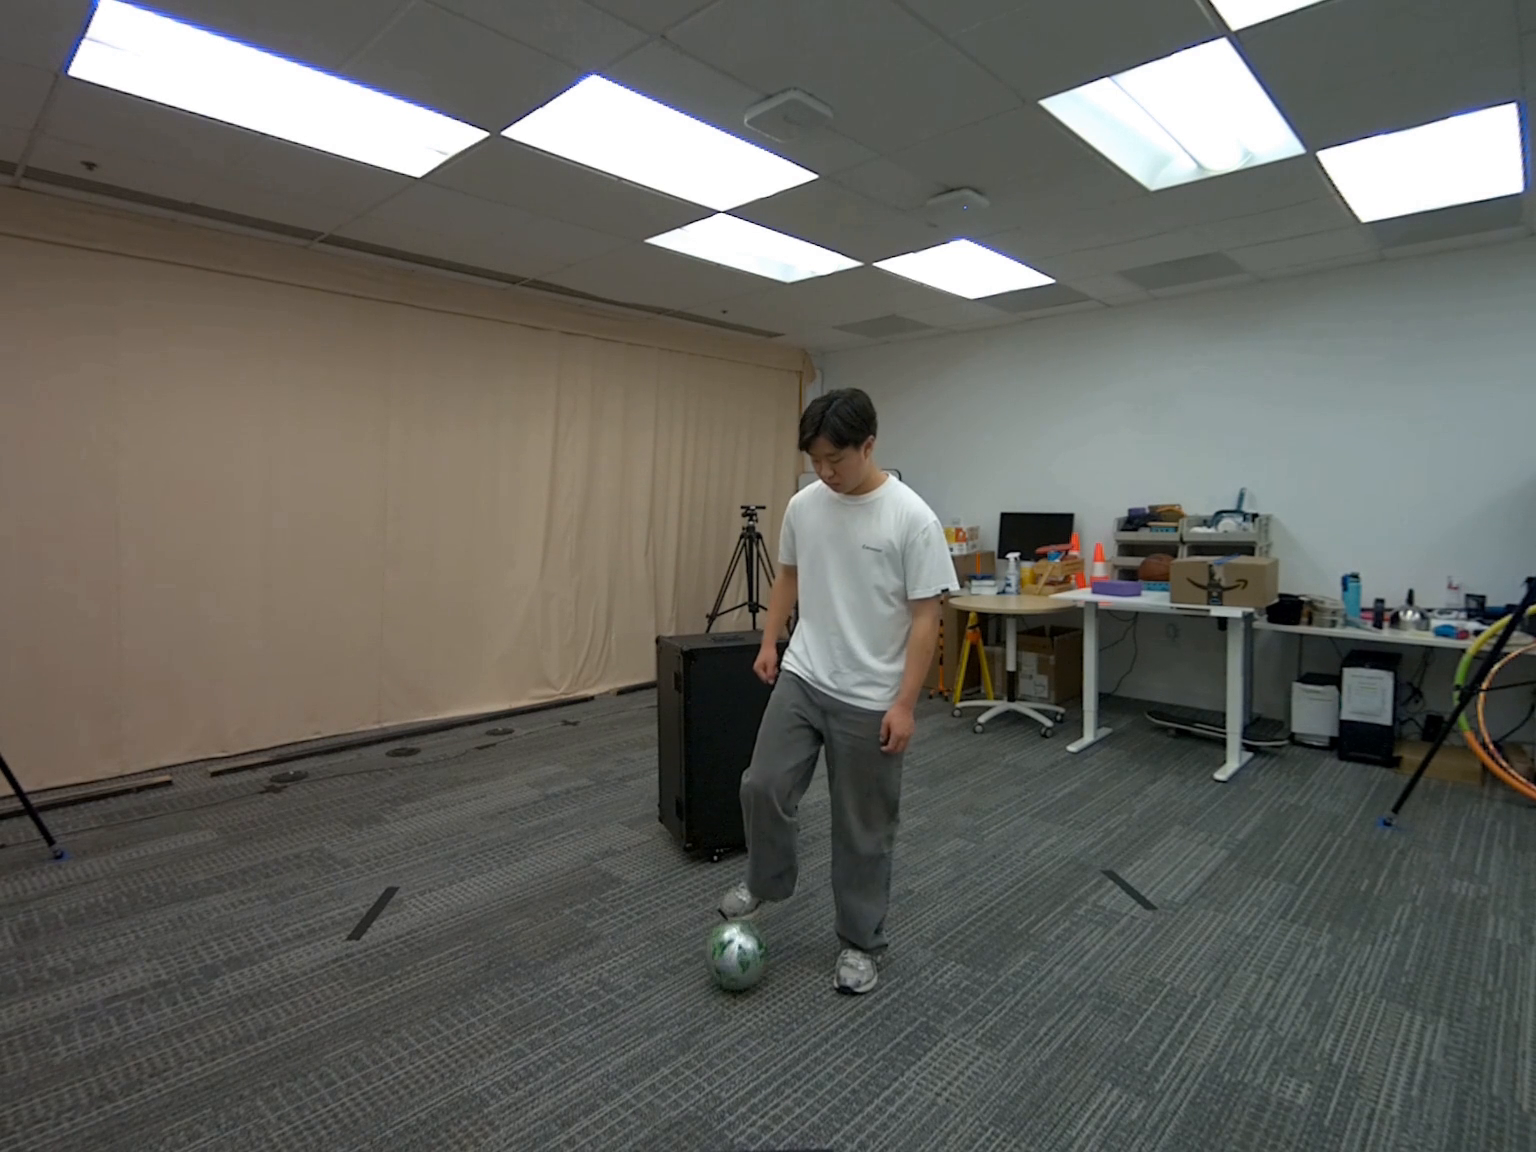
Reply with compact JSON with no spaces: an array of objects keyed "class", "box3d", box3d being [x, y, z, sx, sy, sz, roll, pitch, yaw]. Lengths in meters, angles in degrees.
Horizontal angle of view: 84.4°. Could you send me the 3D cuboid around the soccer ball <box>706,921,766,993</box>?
[{"class":"soccer ball","box3d":[-0.089,1.094,2.428,0.187,0.187,0.188,0,4,-2]}]
